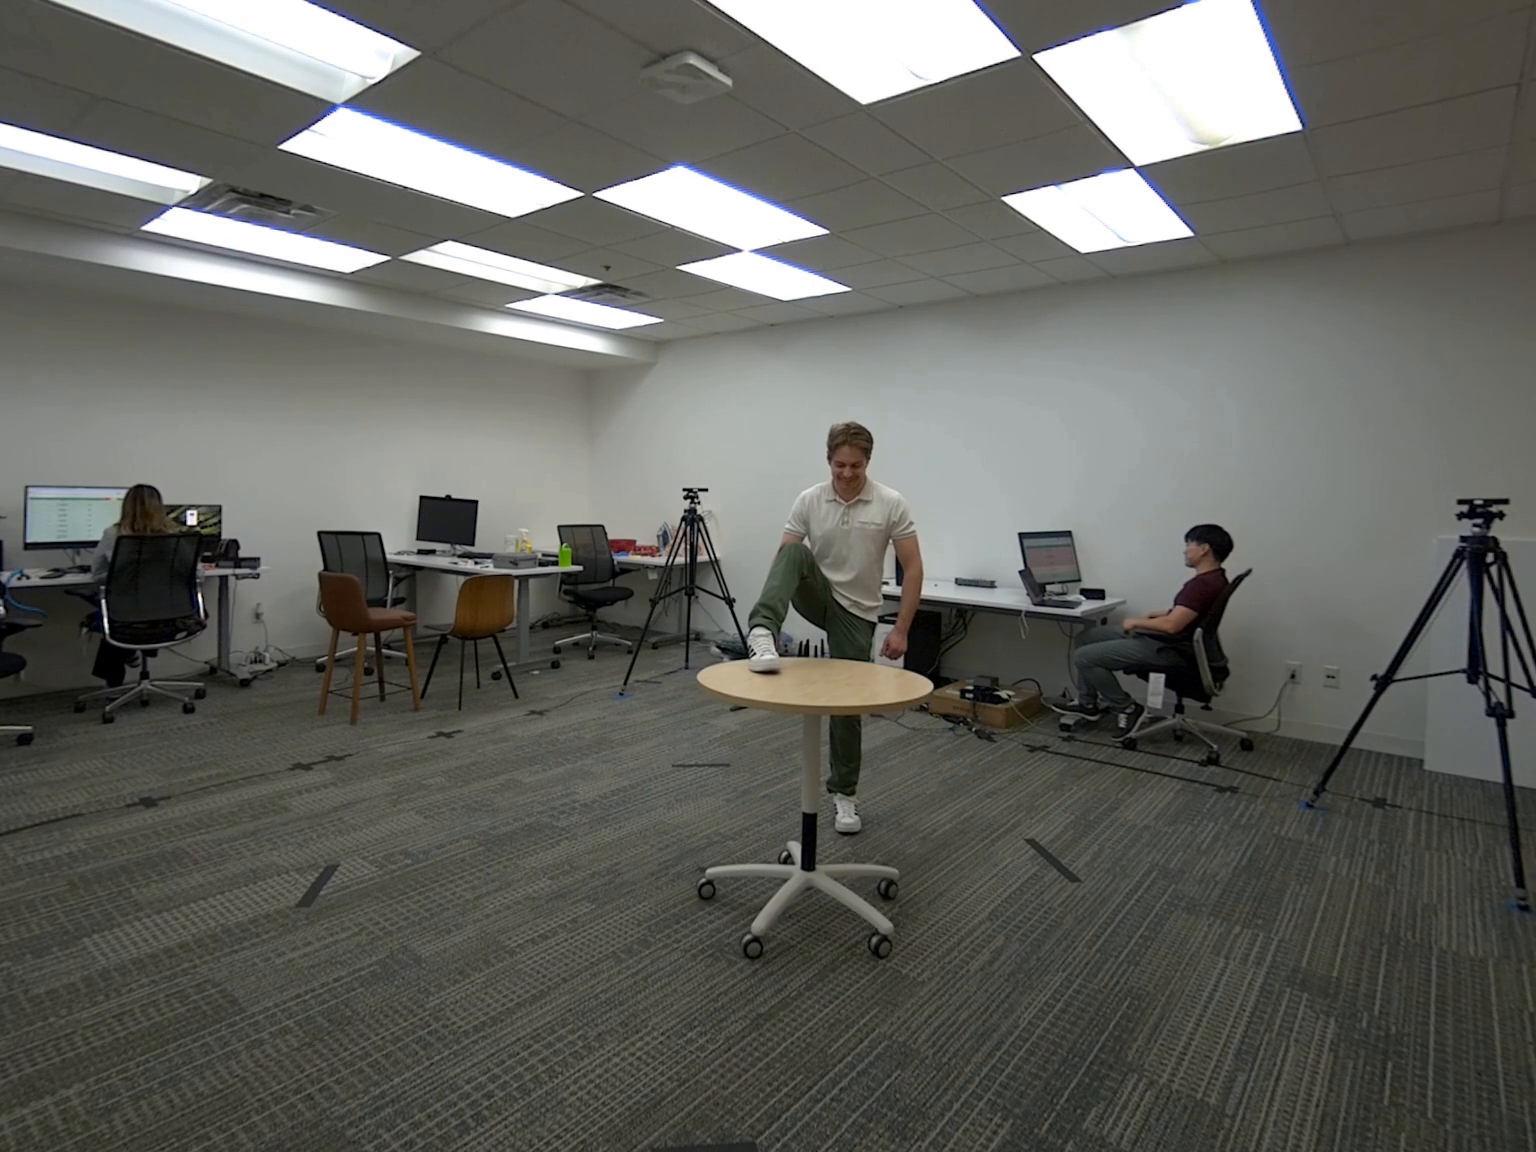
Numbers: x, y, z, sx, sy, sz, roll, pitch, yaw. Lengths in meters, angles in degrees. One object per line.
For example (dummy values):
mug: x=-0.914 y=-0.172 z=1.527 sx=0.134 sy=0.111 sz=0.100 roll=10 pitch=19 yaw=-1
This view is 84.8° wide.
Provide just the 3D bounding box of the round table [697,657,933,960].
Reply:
round table: x=0.122 y=0.724 z=2.795 sx=0.763 sy=0.792 sz=0.767 roll=1 pitch=4 yaw=-2
